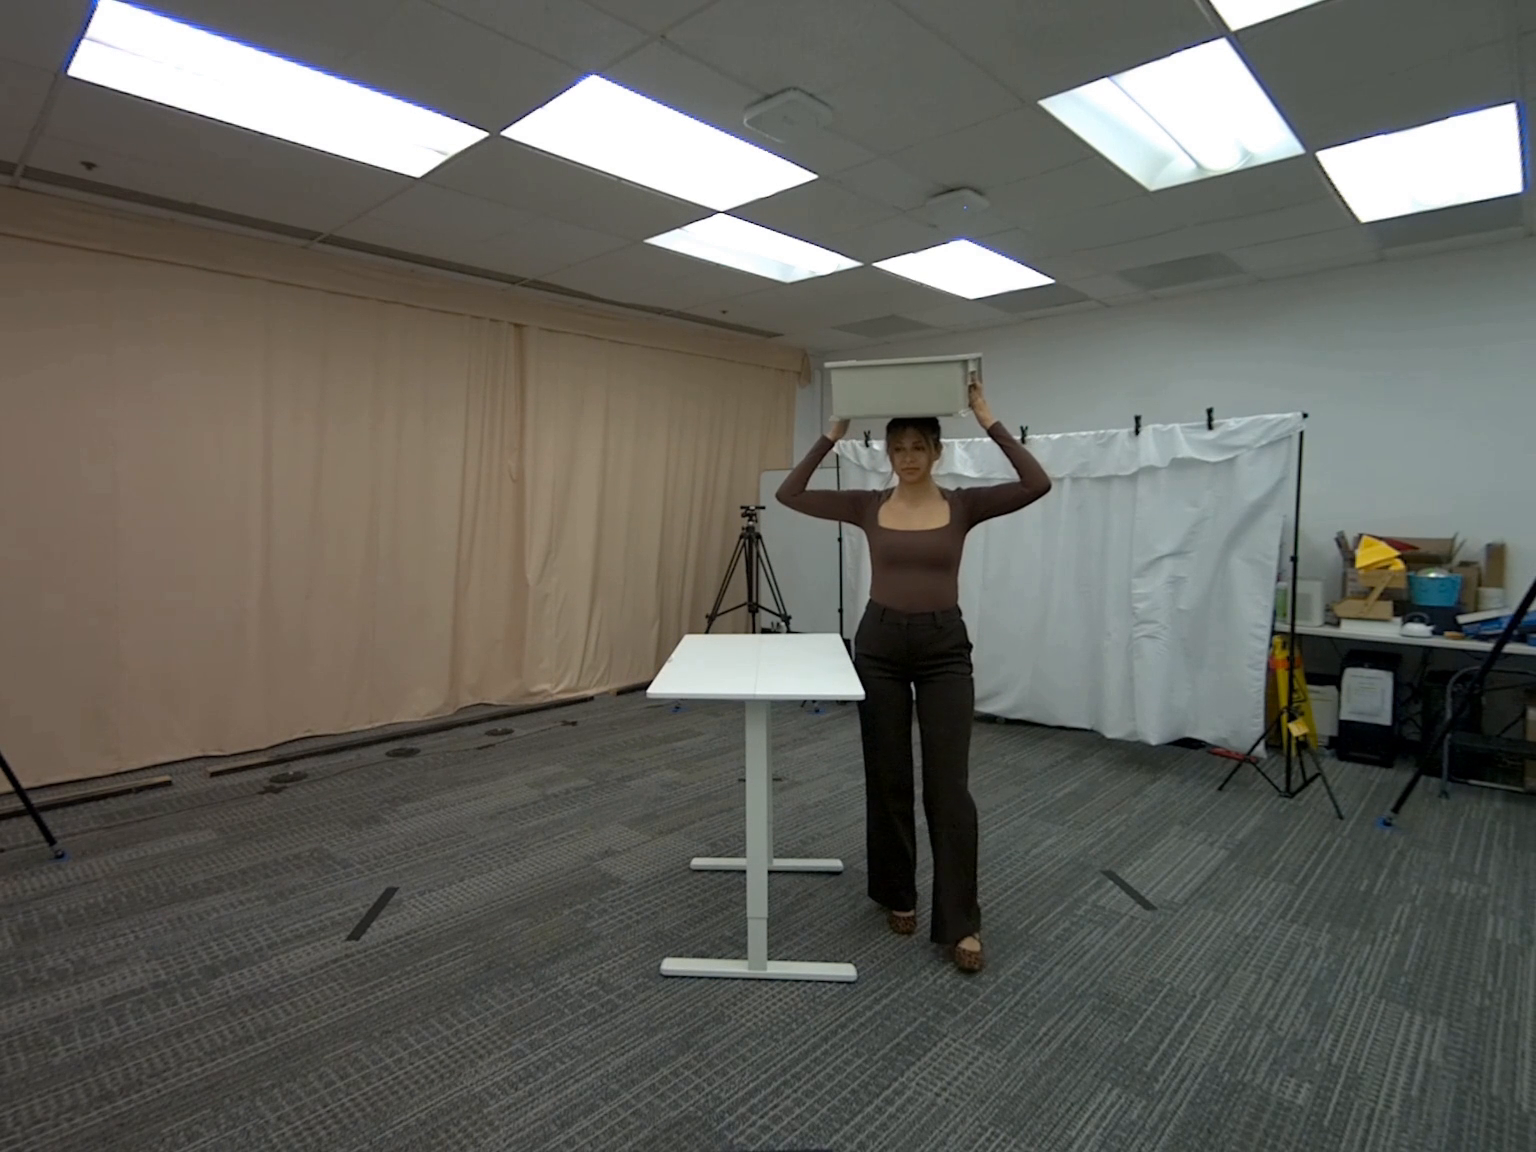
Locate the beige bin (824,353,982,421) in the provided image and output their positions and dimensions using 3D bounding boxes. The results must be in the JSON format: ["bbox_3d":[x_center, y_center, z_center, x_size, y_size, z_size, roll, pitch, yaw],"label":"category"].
[{"bbox_3d":[0.451,-0.603,2.682,0.433,0.187,0.372,3,16,23],"label":"beige bin"}]
